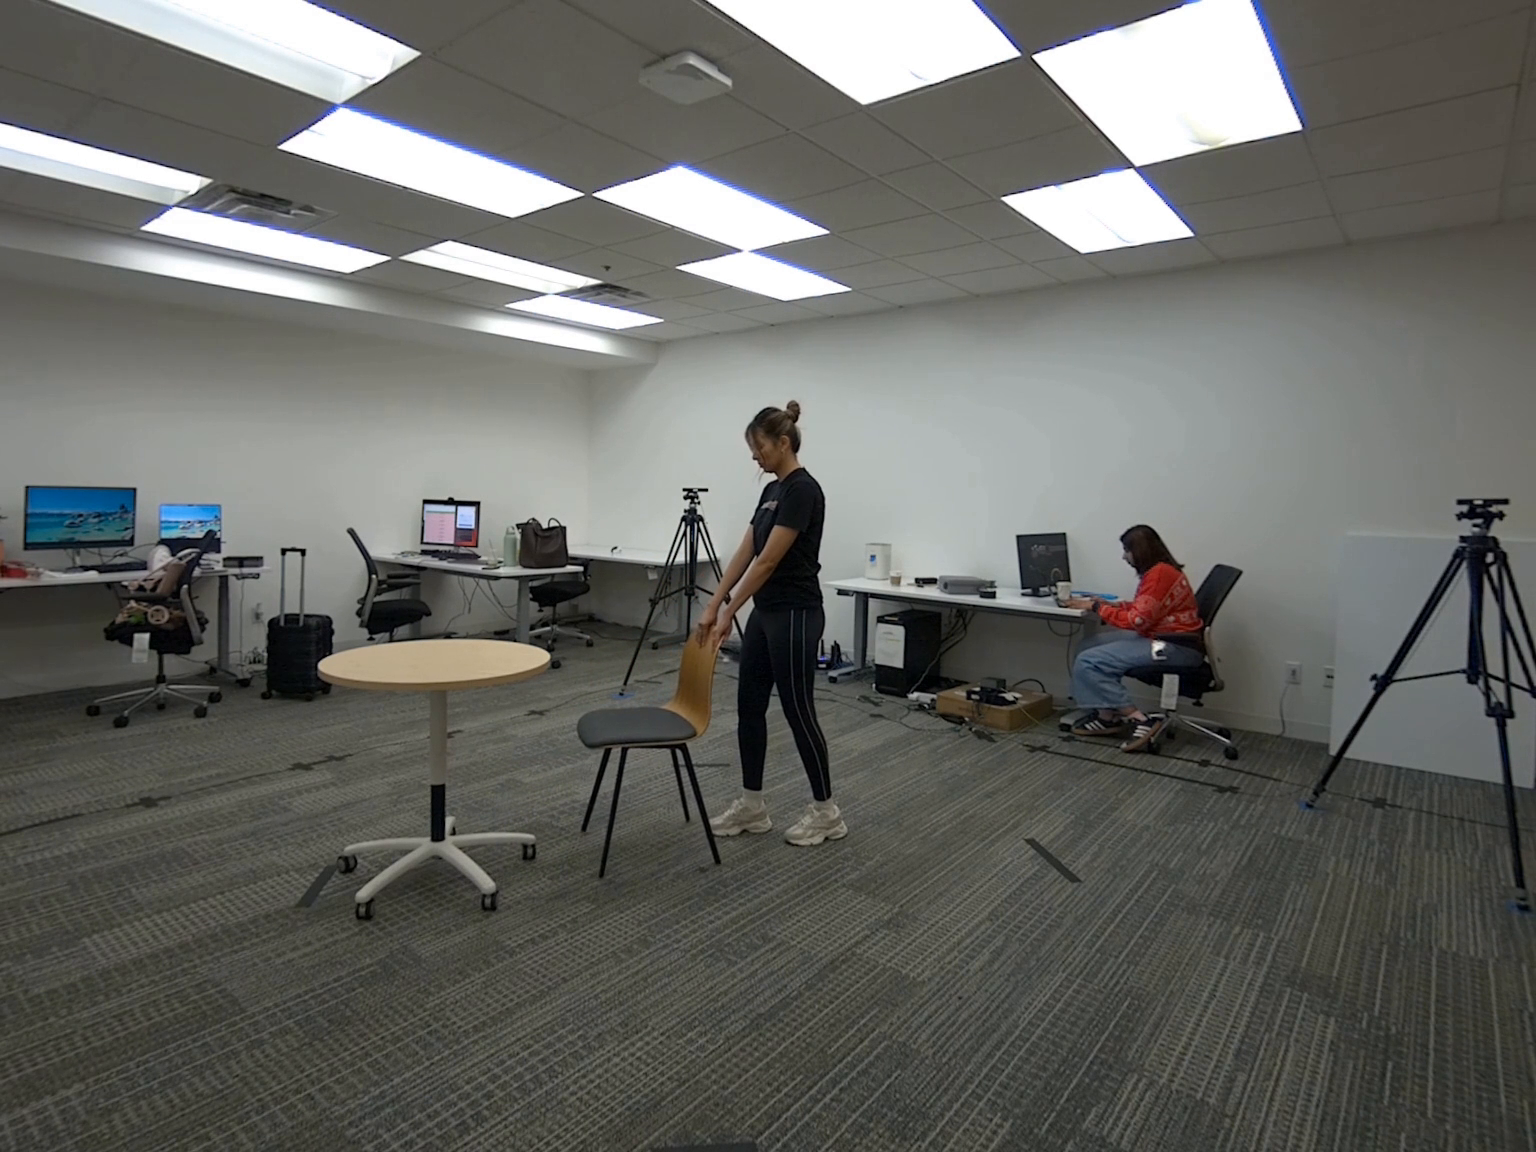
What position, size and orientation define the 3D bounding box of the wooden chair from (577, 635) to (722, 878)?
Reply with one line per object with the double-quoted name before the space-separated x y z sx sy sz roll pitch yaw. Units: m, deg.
"wooden chair" -0.473 0.628 3.261 0.513 0.876 0.489 5 3 -19
